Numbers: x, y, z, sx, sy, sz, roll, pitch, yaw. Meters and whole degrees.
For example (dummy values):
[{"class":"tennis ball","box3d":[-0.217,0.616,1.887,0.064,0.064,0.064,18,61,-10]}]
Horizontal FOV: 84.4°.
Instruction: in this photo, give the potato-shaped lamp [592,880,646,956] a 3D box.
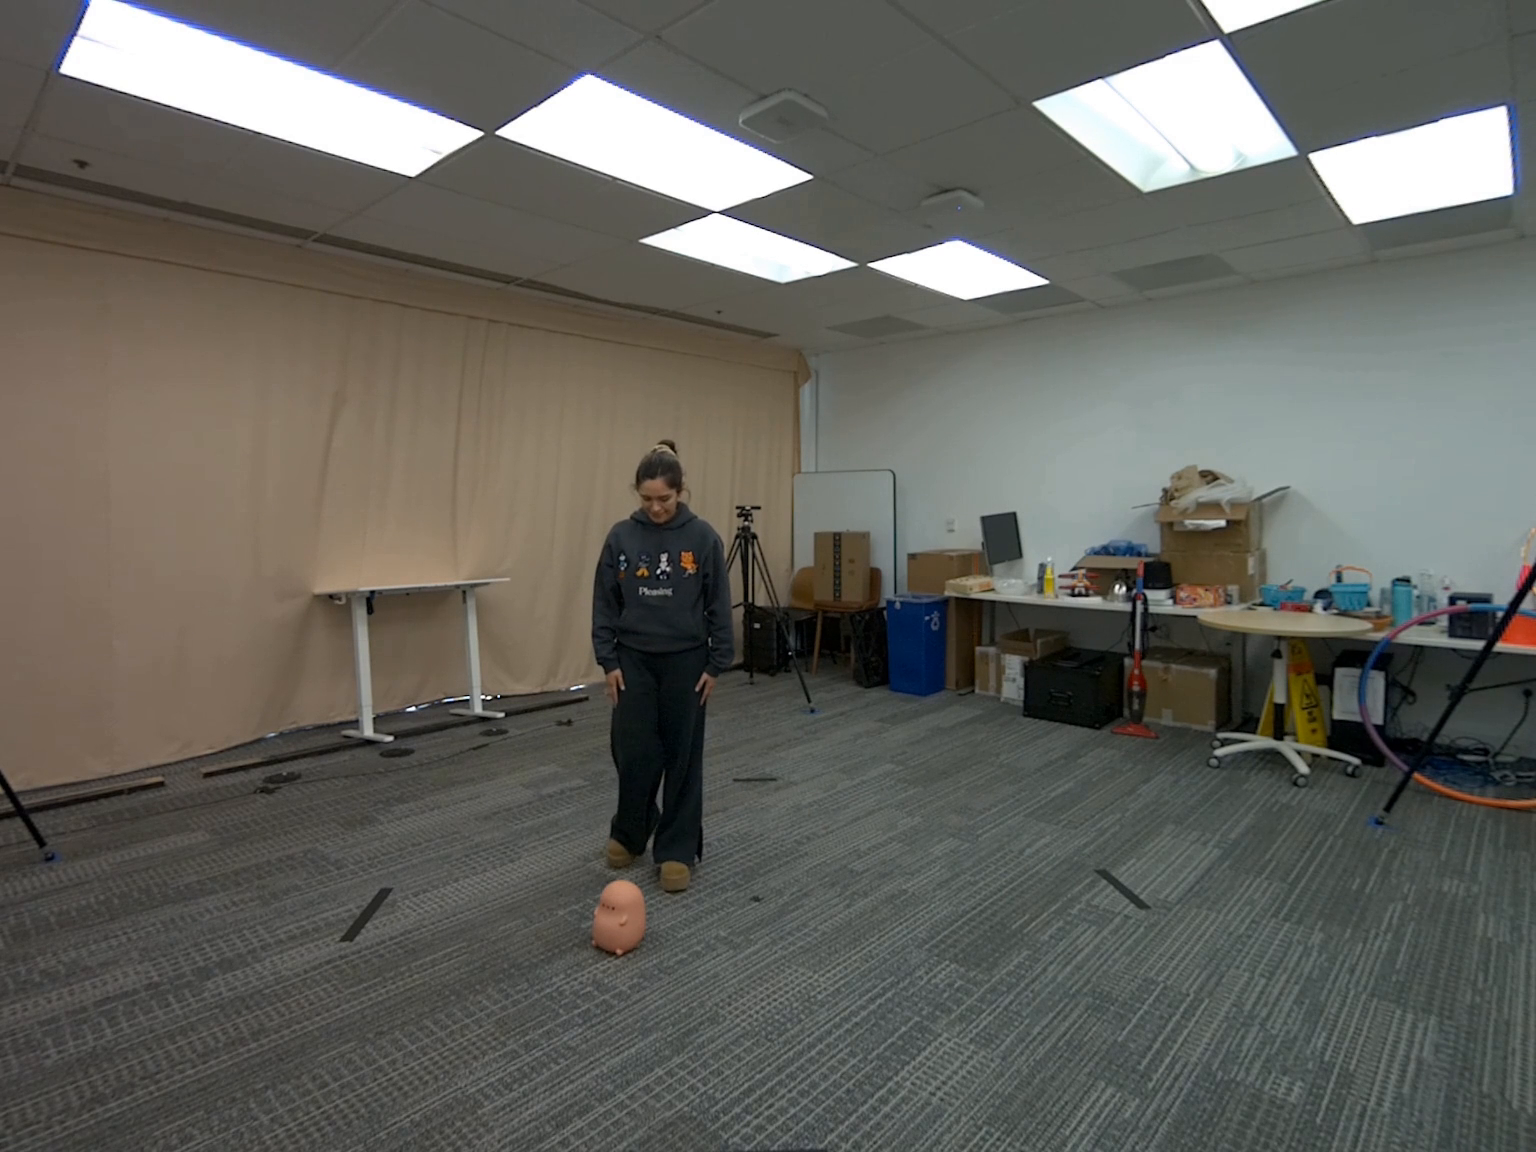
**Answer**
[{"class":"potato-shaped lamp","box3d":[-0.454,1.070,2.682,0.170,0.197,0.166,1,5,36]}]
